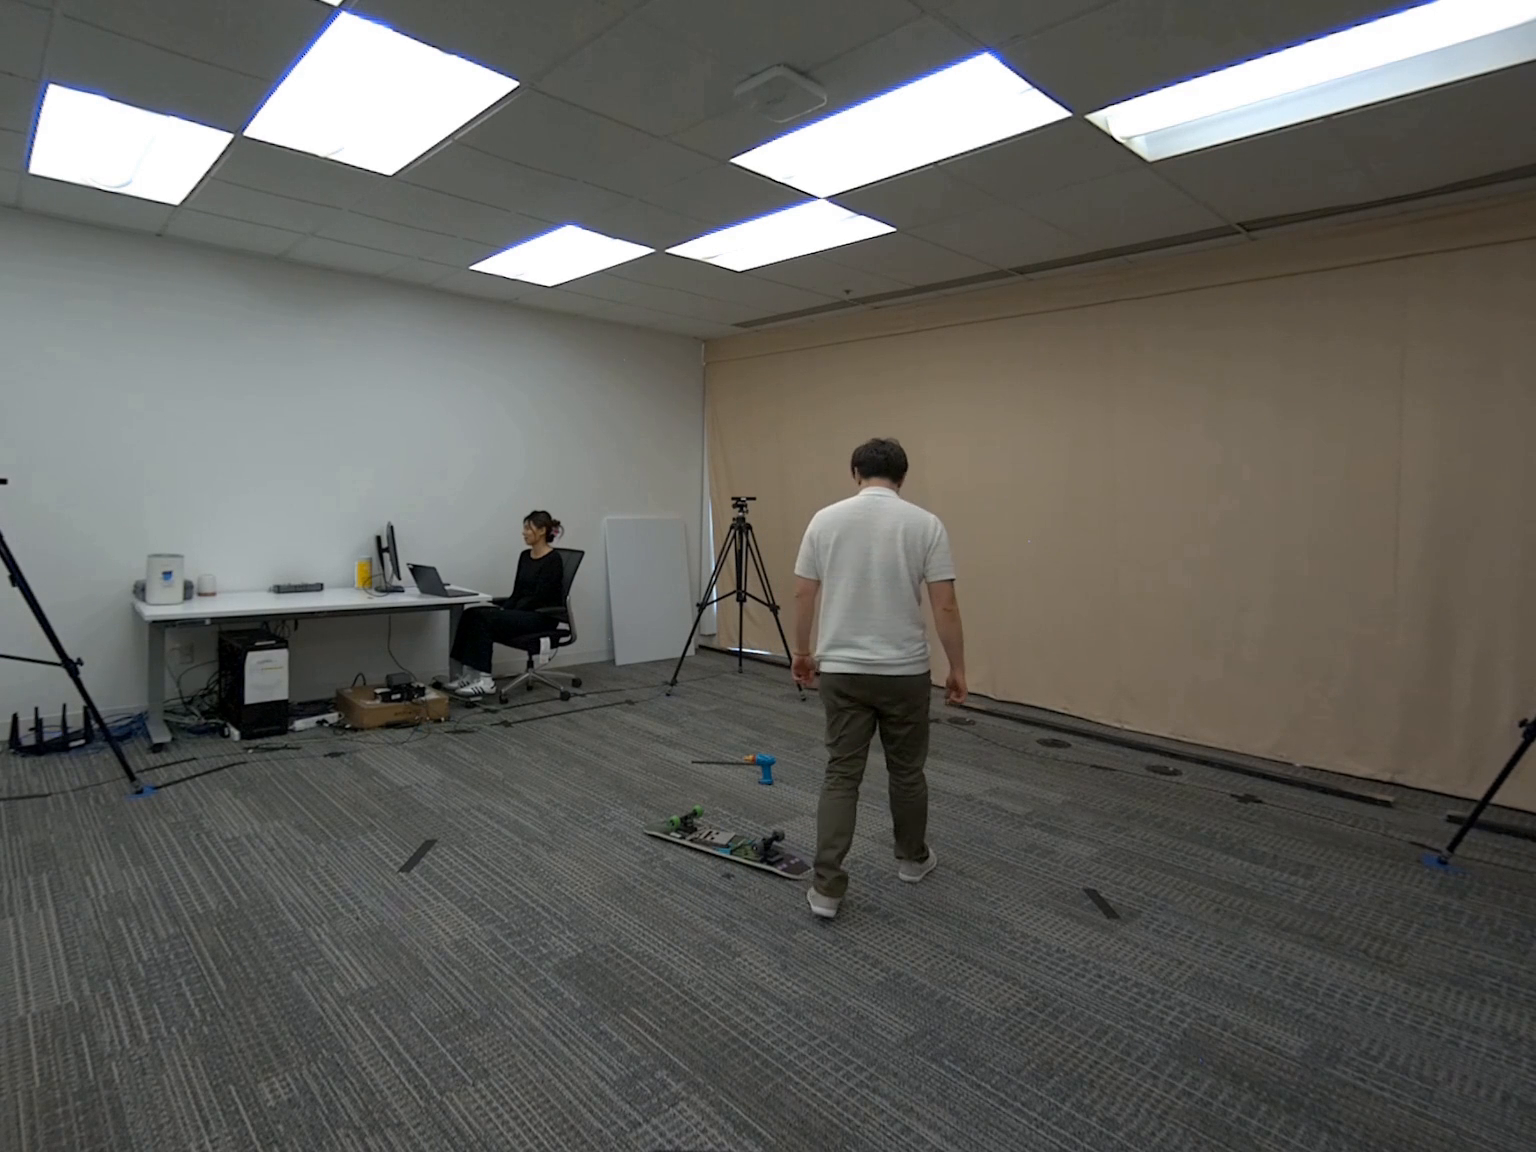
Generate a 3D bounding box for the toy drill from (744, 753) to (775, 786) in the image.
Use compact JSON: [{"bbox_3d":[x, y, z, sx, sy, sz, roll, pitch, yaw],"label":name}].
[{"bbox_3d":[-0.061,0.942,4.151,0.171,0.145,0.061,2,6,11],"label":"toy drill"}]
